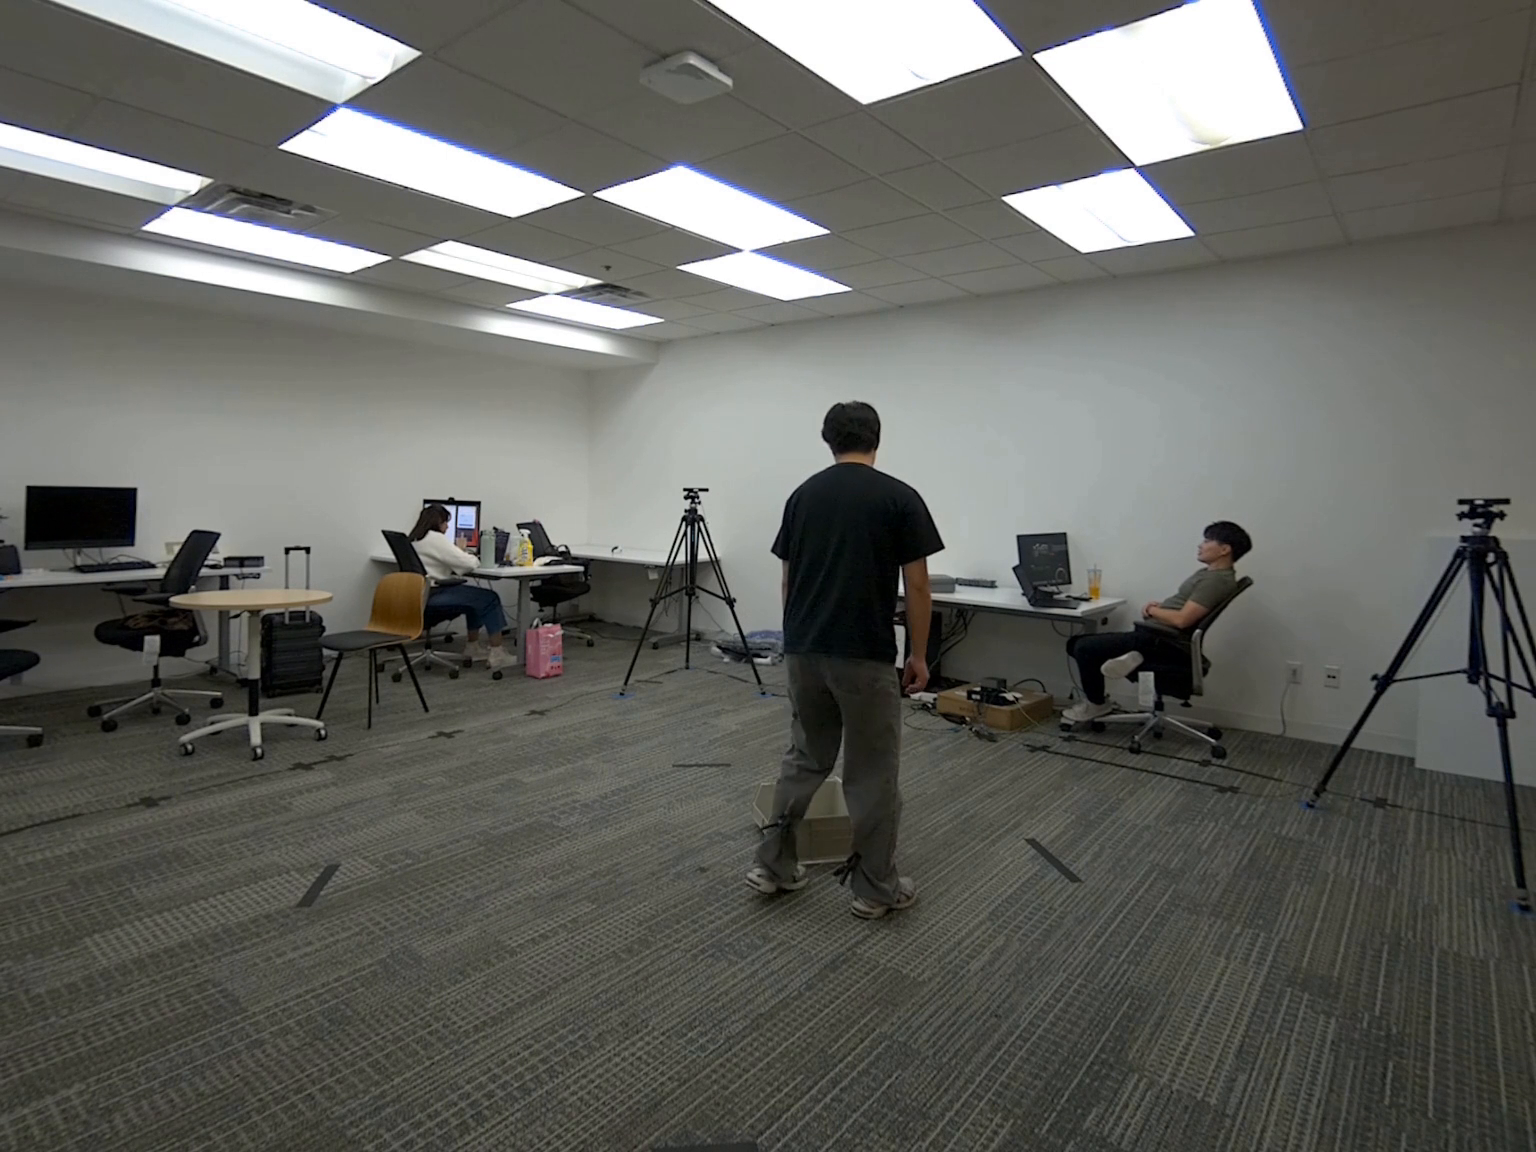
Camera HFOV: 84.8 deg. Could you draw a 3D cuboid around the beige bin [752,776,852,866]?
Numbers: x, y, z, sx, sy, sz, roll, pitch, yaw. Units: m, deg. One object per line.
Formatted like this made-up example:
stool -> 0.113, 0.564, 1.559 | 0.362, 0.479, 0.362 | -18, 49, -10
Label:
beige bin -> 0.165, 0.967, 3.386 | 0.371, 0.188, 0.430 | 0, 5, -16
